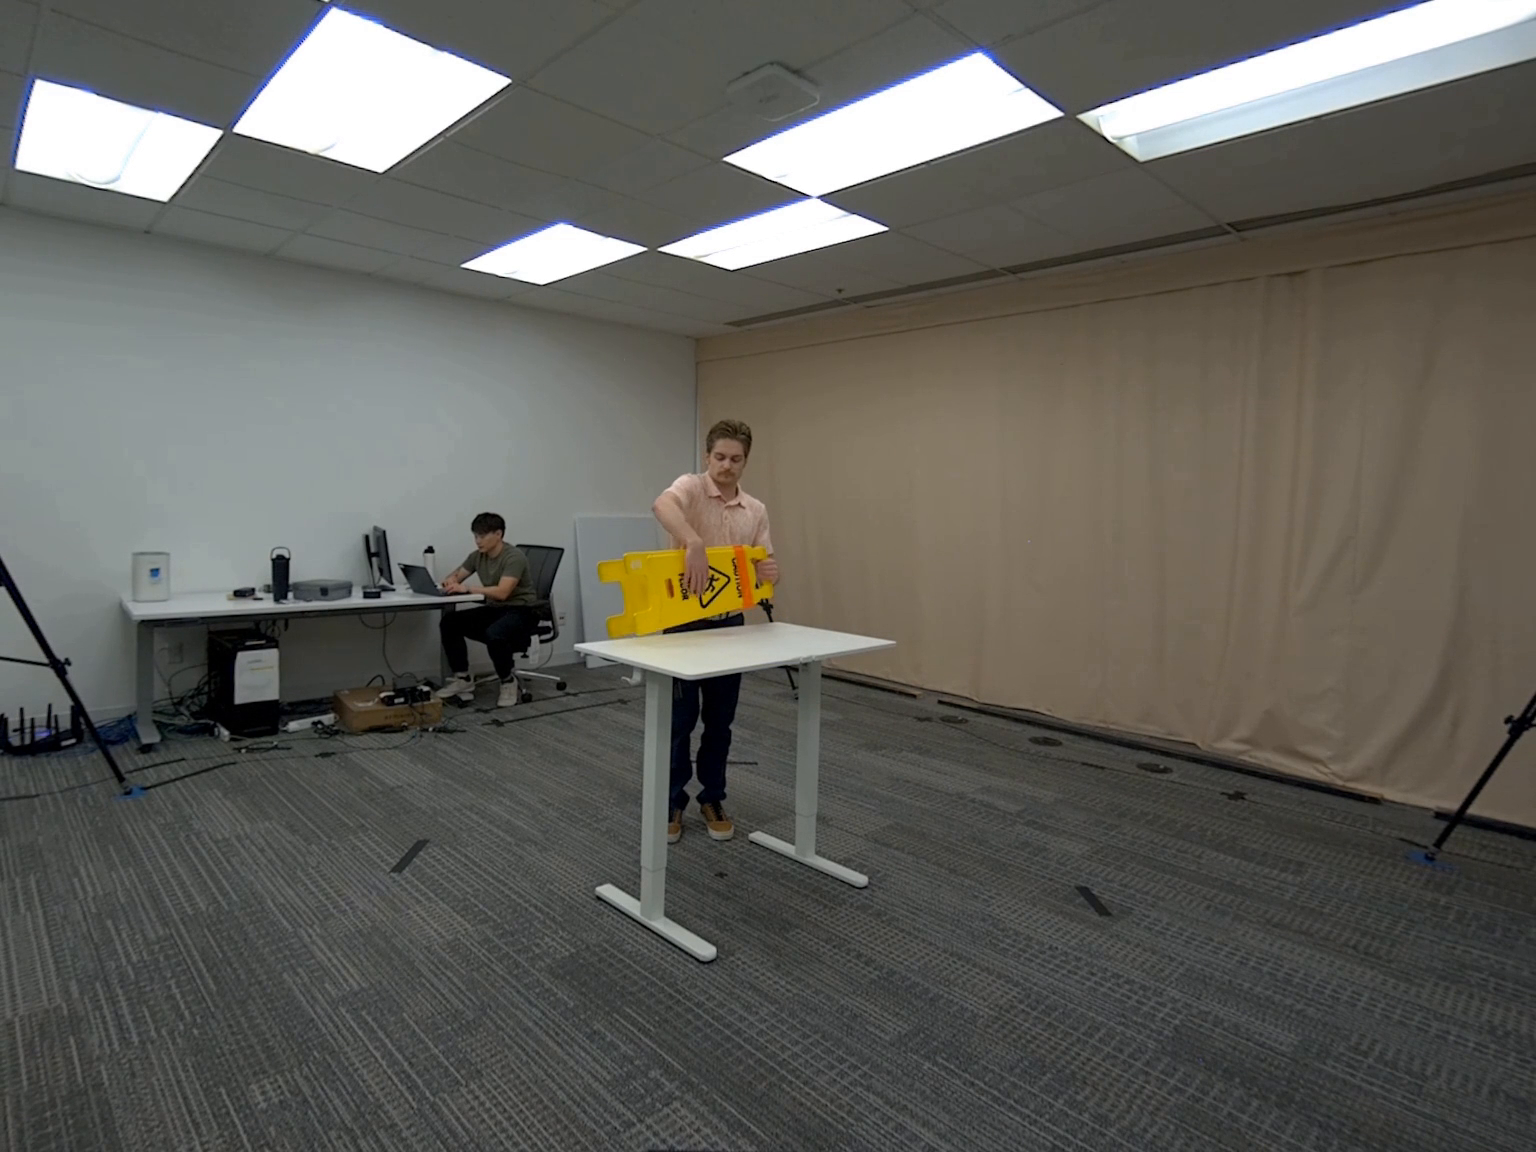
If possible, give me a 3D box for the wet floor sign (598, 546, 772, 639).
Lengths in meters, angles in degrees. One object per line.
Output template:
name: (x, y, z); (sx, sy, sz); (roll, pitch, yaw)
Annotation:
wet floor sign: (-0.276, 0.032, 3.091); (0.635, 0.283, 0.294); (-9, -1, -30)
